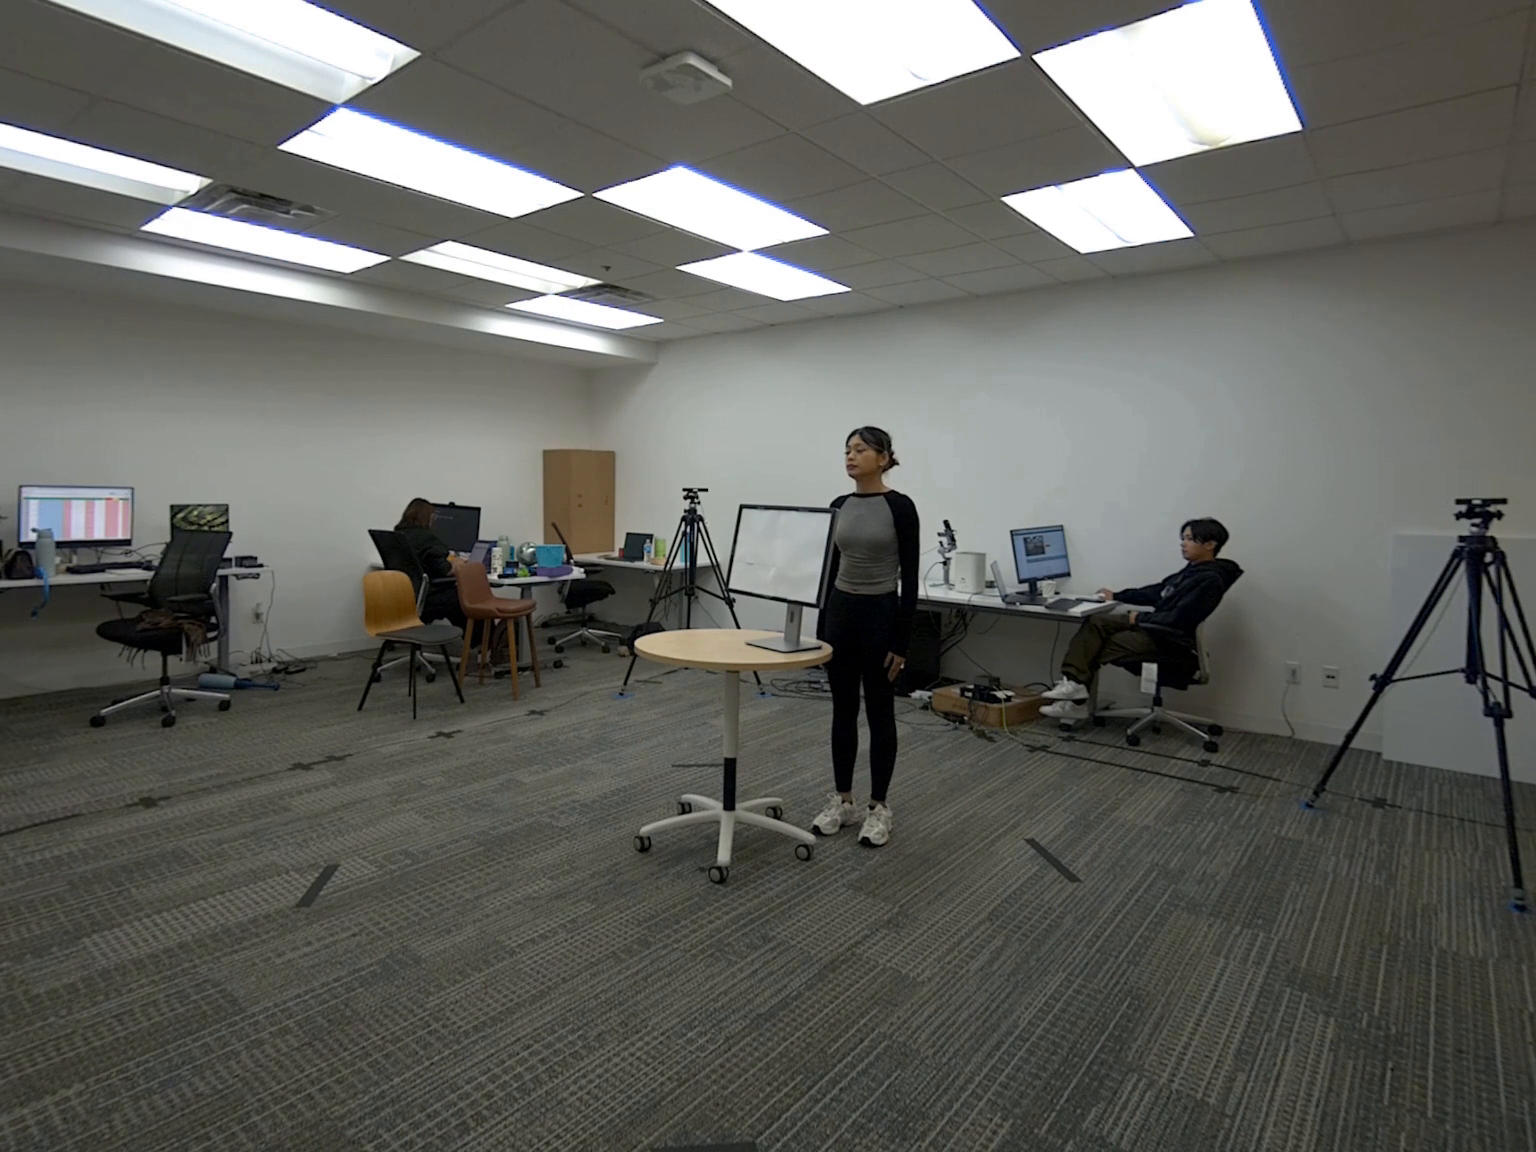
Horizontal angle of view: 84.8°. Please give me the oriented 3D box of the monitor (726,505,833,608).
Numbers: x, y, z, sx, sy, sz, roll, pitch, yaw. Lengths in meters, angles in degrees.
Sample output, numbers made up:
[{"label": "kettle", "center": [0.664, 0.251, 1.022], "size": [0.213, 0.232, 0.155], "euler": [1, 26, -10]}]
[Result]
[{"label": "monitor", "center": [0.058, 0.000, 3.274], "size": [0.181, 0.521, 0.557], "euler": [-3, 6, -40]}]
